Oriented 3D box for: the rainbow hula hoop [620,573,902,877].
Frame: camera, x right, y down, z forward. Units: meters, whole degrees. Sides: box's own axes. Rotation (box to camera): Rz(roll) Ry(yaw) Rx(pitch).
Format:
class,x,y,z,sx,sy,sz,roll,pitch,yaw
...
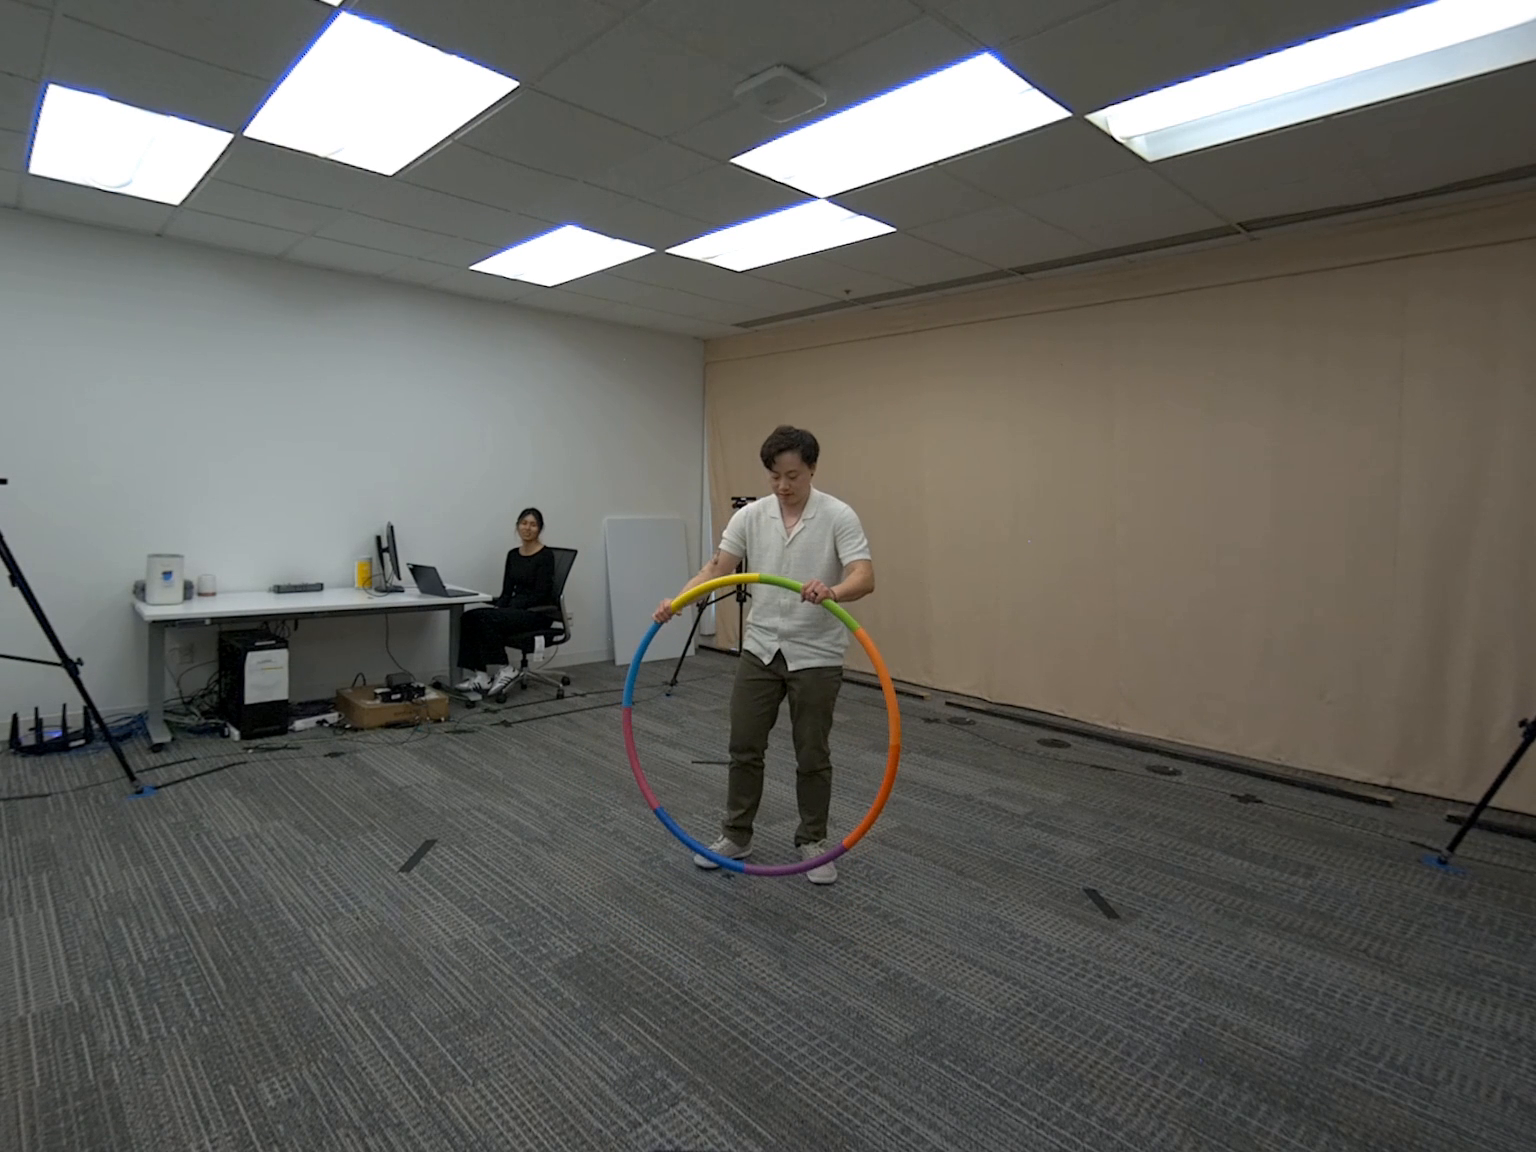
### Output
class,x,y,z,sx,sy,sz,roll,pitch,yaw
rainbow hula hoop,-0.064,0.494,2.779,0.996,0.979,0.035,3,-1,23
